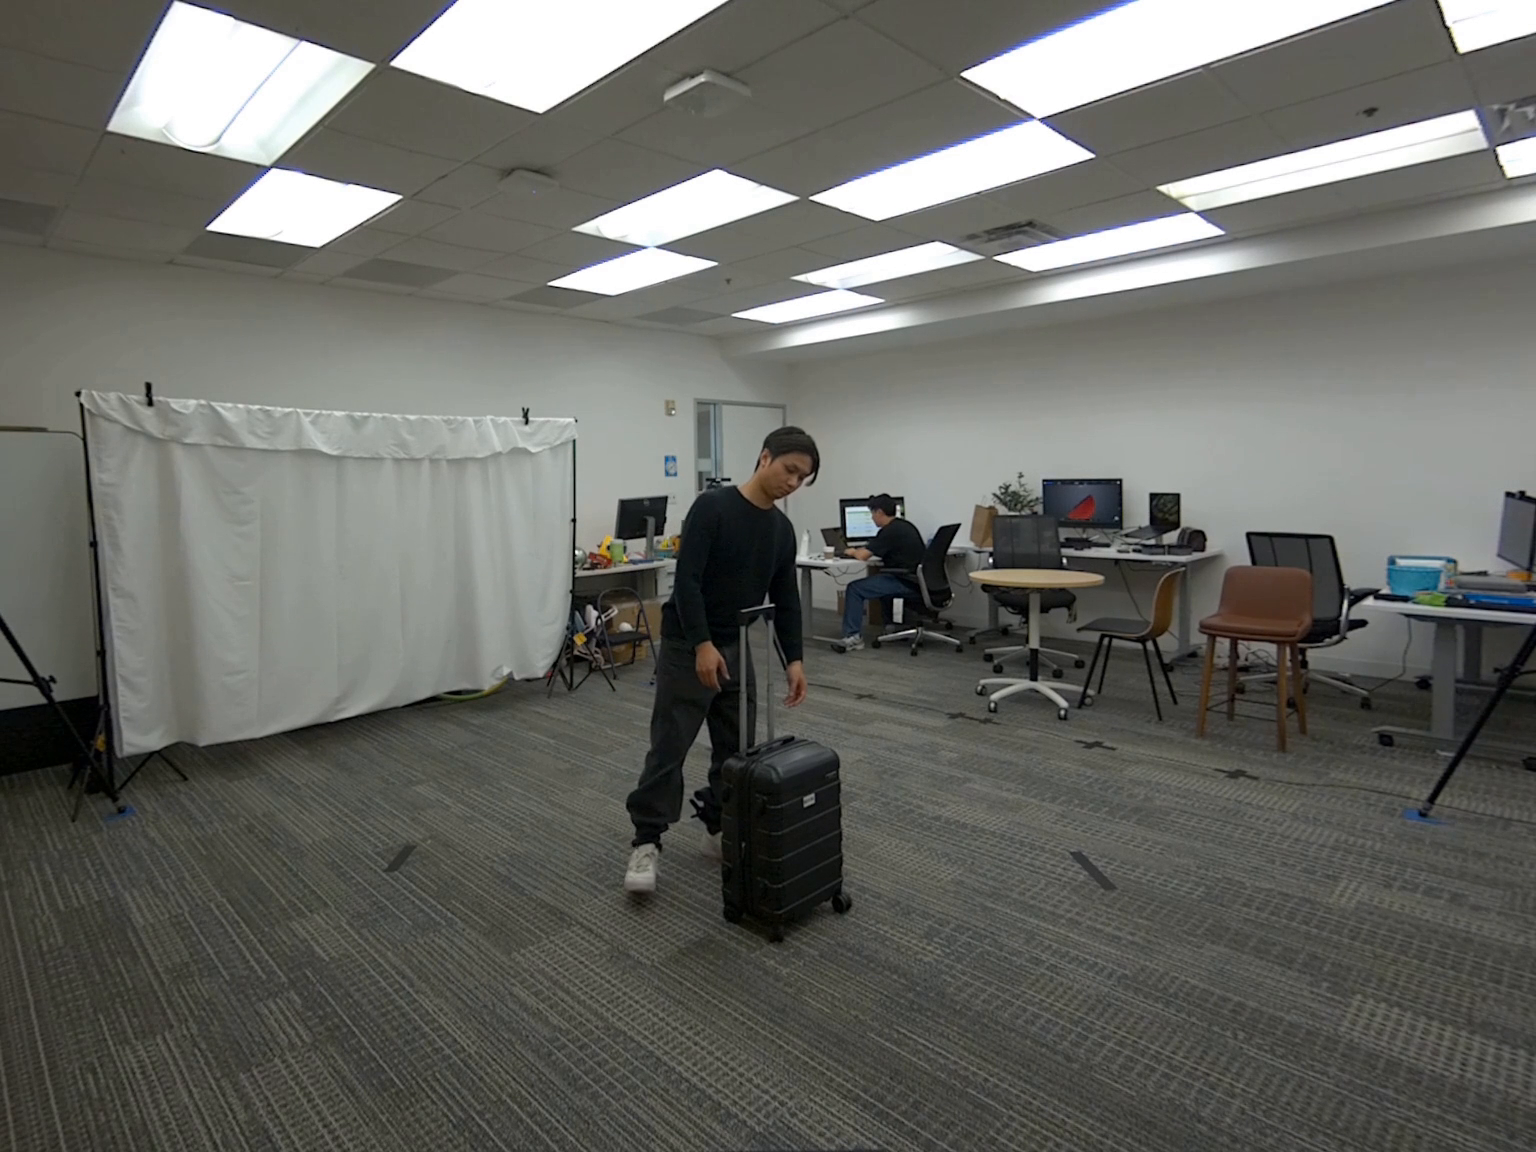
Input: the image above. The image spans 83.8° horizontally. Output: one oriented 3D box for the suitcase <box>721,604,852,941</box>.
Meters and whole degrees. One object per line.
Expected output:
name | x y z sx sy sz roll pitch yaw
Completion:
suitcase | 0.053 0.609 2.696 0.265 0.973 0.374 6 9 43
